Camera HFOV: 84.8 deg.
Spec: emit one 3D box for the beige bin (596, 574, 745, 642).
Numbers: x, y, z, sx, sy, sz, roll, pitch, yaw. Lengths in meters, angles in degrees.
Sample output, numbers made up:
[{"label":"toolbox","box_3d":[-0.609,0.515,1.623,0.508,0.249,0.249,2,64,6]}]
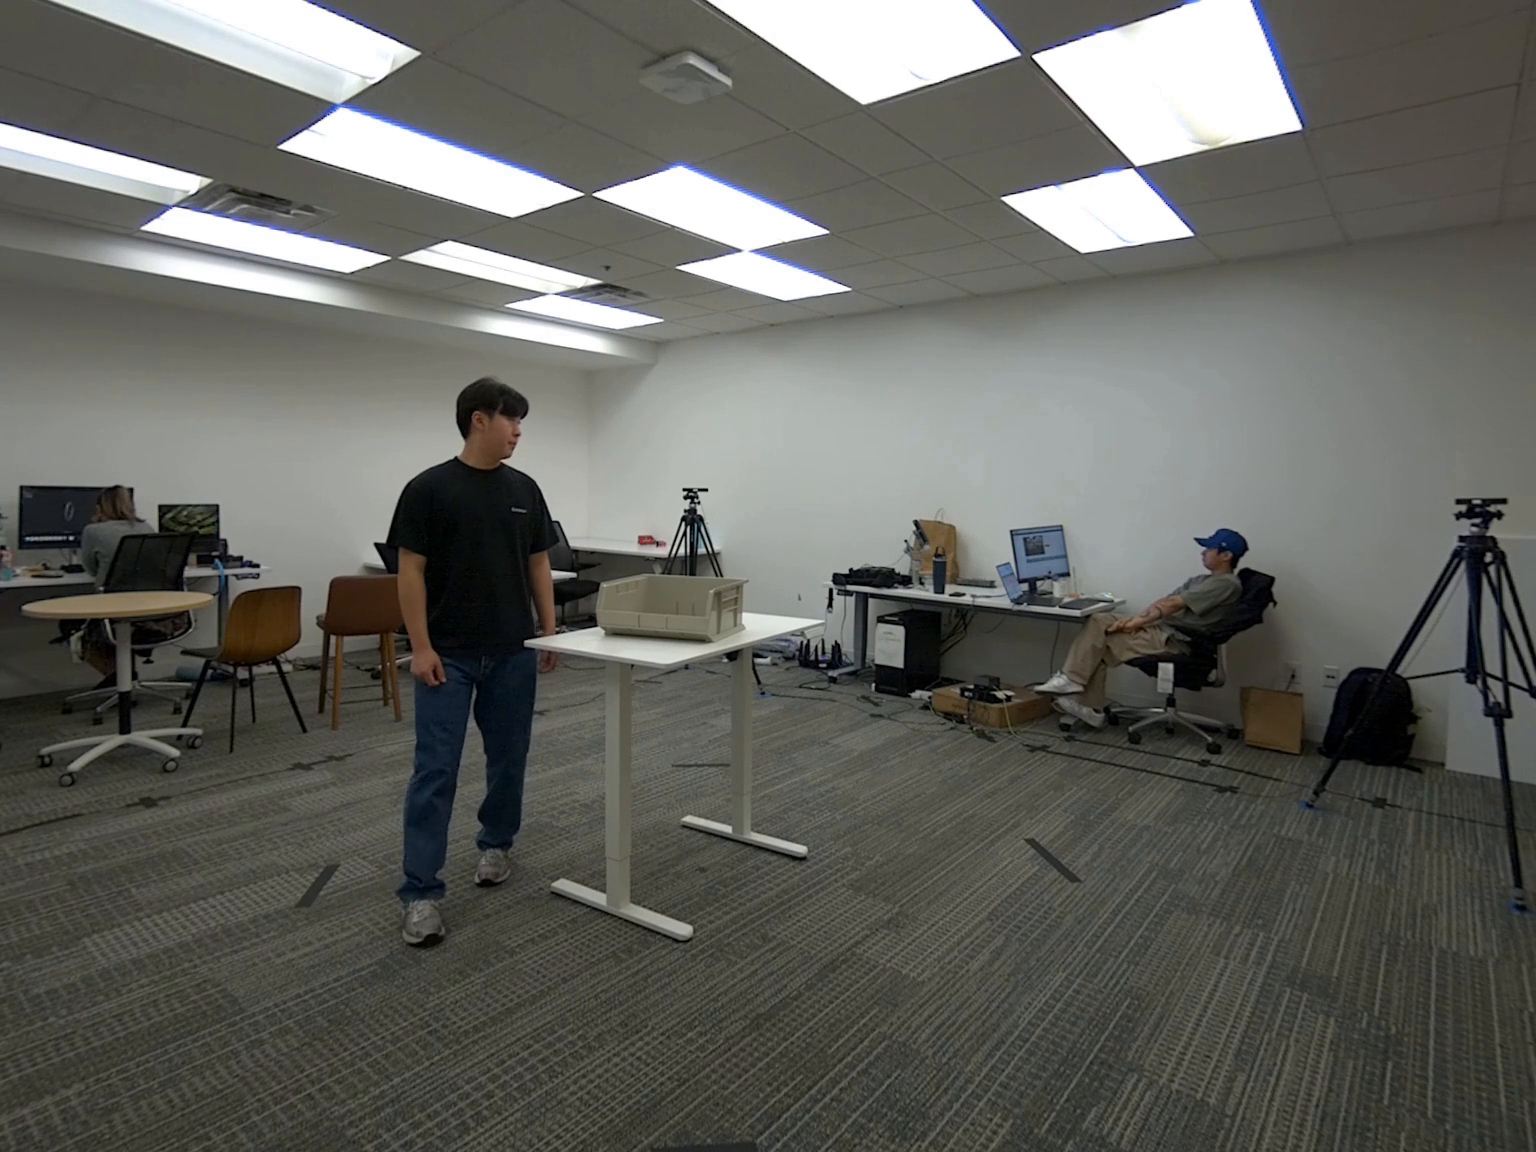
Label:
[{"label":"beige bin","box_3d":[-0.342,0.110,2.988,0.432,0.188,0.370,2,4,20]}]
